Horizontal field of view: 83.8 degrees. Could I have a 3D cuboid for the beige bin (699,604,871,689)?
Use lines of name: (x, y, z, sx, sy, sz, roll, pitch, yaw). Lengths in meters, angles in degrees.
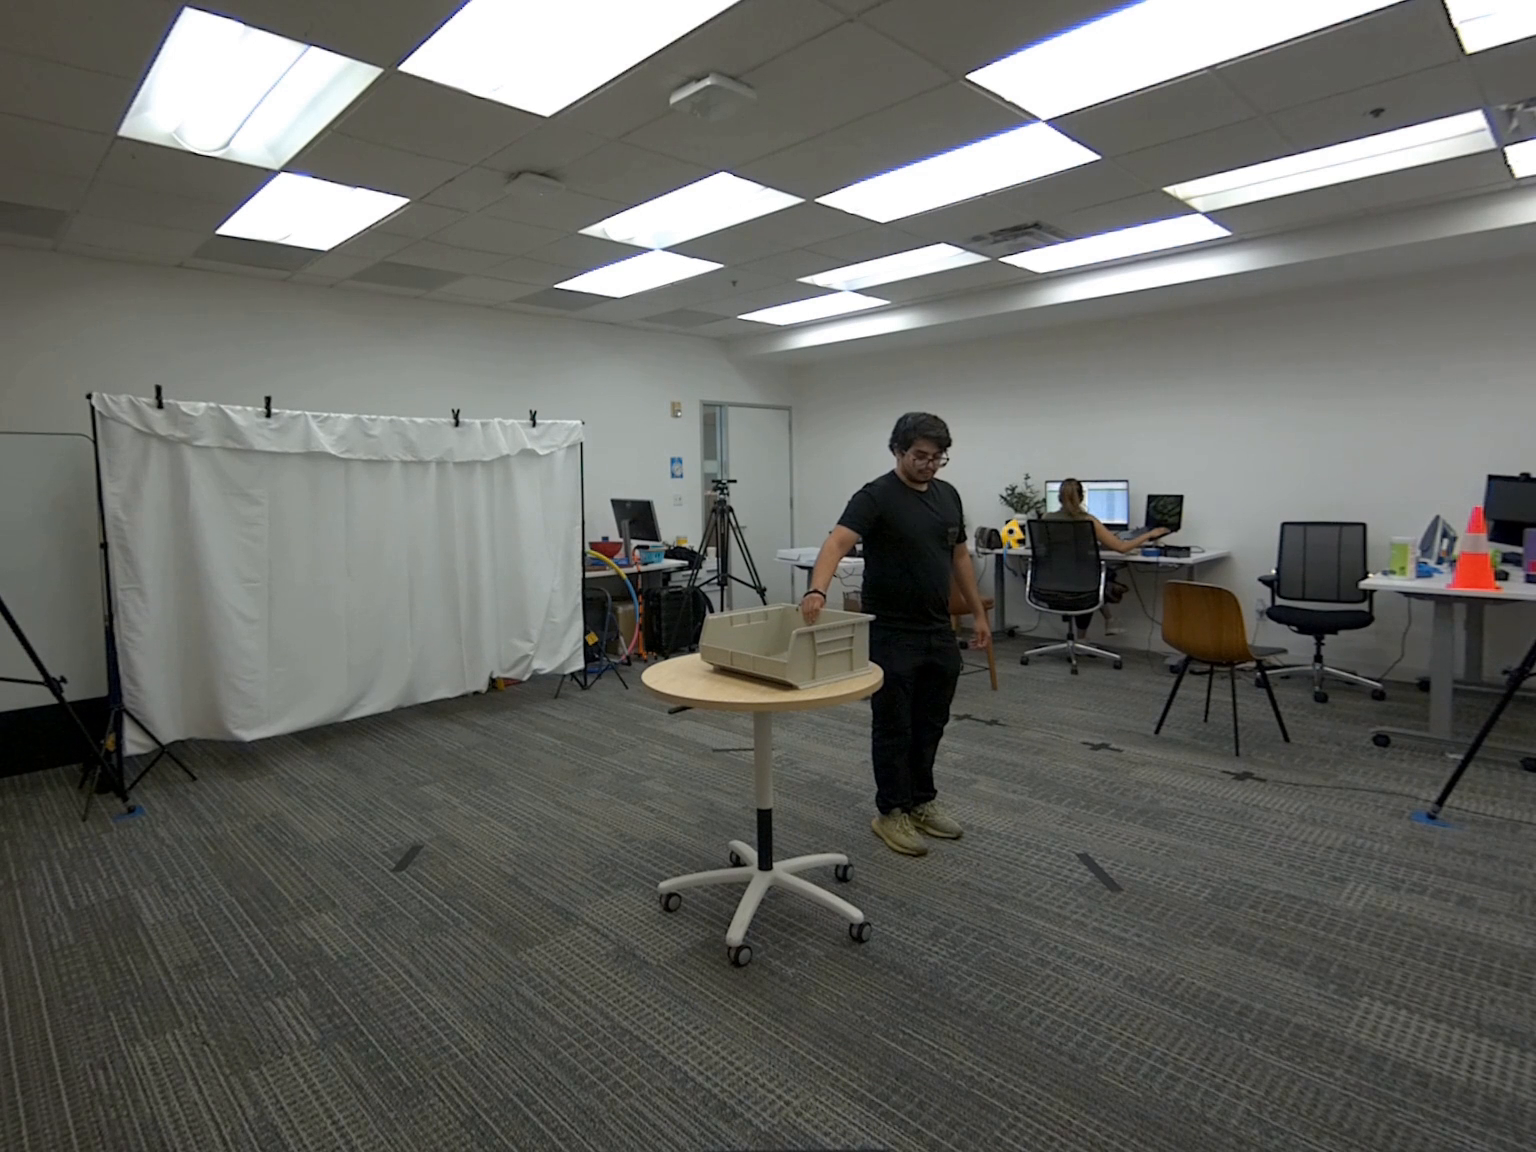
beige bin: (0.056, 0.217, 2.704, 0.367, 0.188, 0.435, -4, 5, -40)
